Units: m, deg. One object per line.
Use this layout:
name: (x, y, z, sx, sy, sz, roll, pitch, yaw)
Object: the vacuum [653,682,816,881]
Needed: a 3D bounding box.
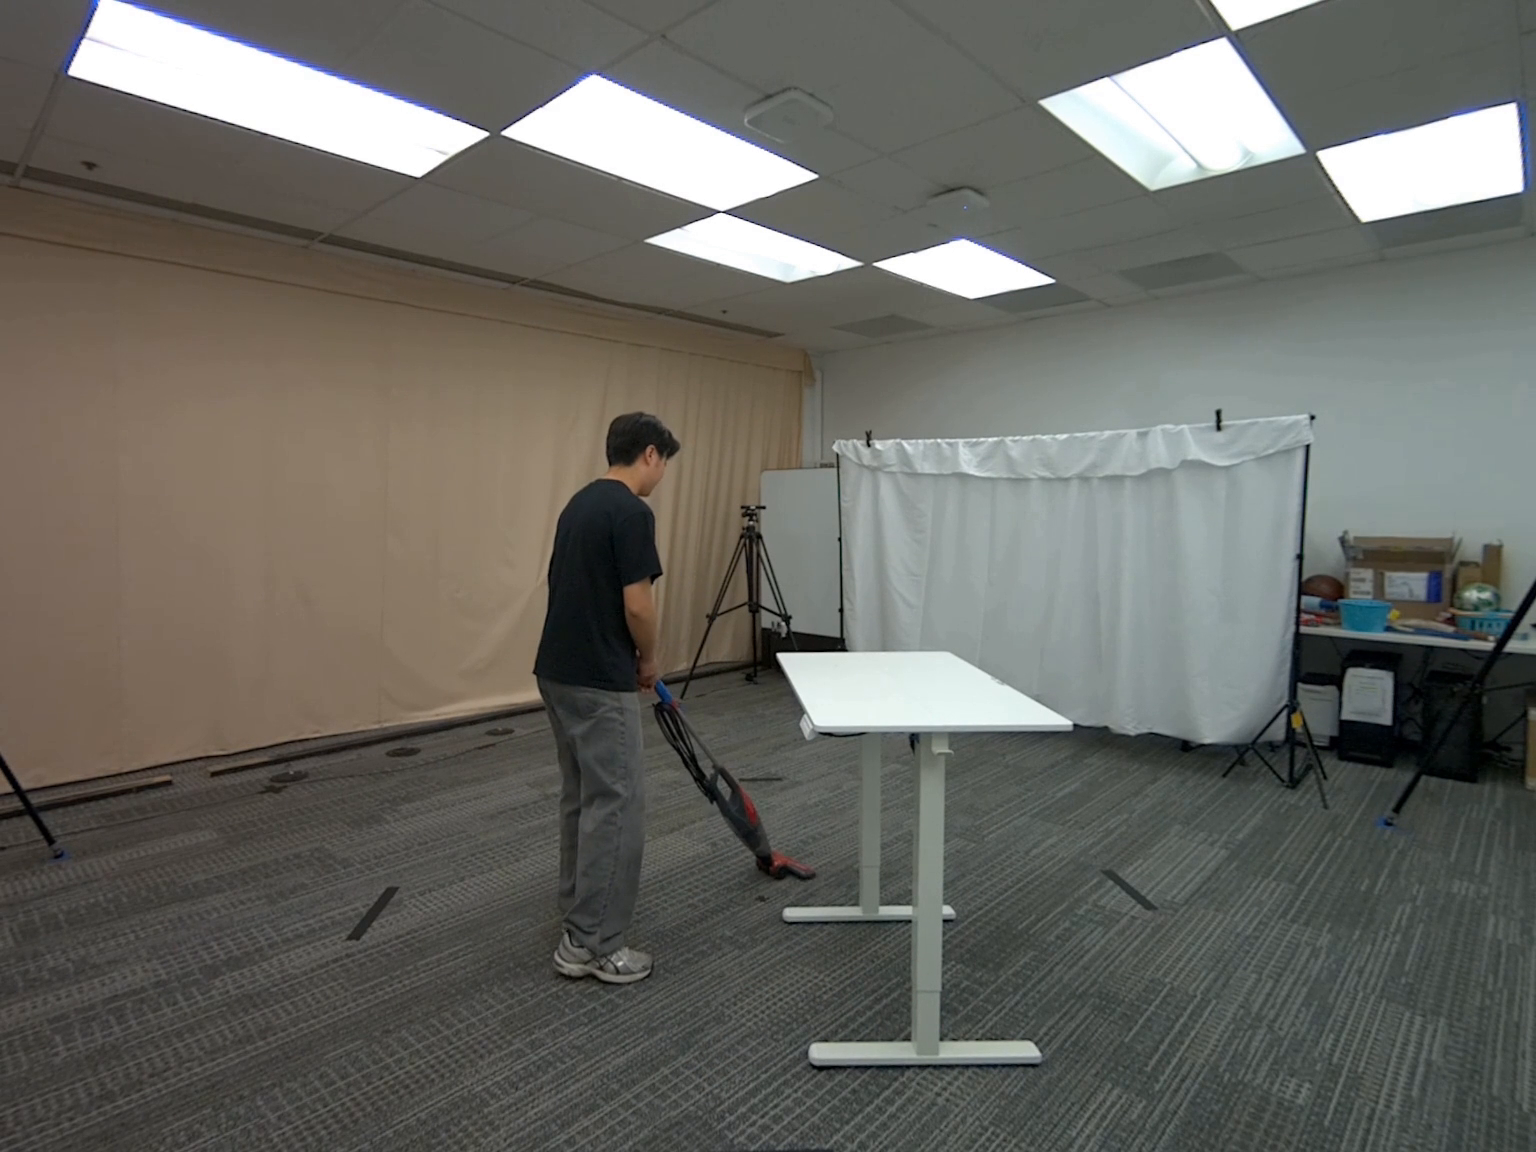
vacuum: (-0.193, 0.729, 3.021, 0.260, 1.025, 0.143, -7, 34, 48)
